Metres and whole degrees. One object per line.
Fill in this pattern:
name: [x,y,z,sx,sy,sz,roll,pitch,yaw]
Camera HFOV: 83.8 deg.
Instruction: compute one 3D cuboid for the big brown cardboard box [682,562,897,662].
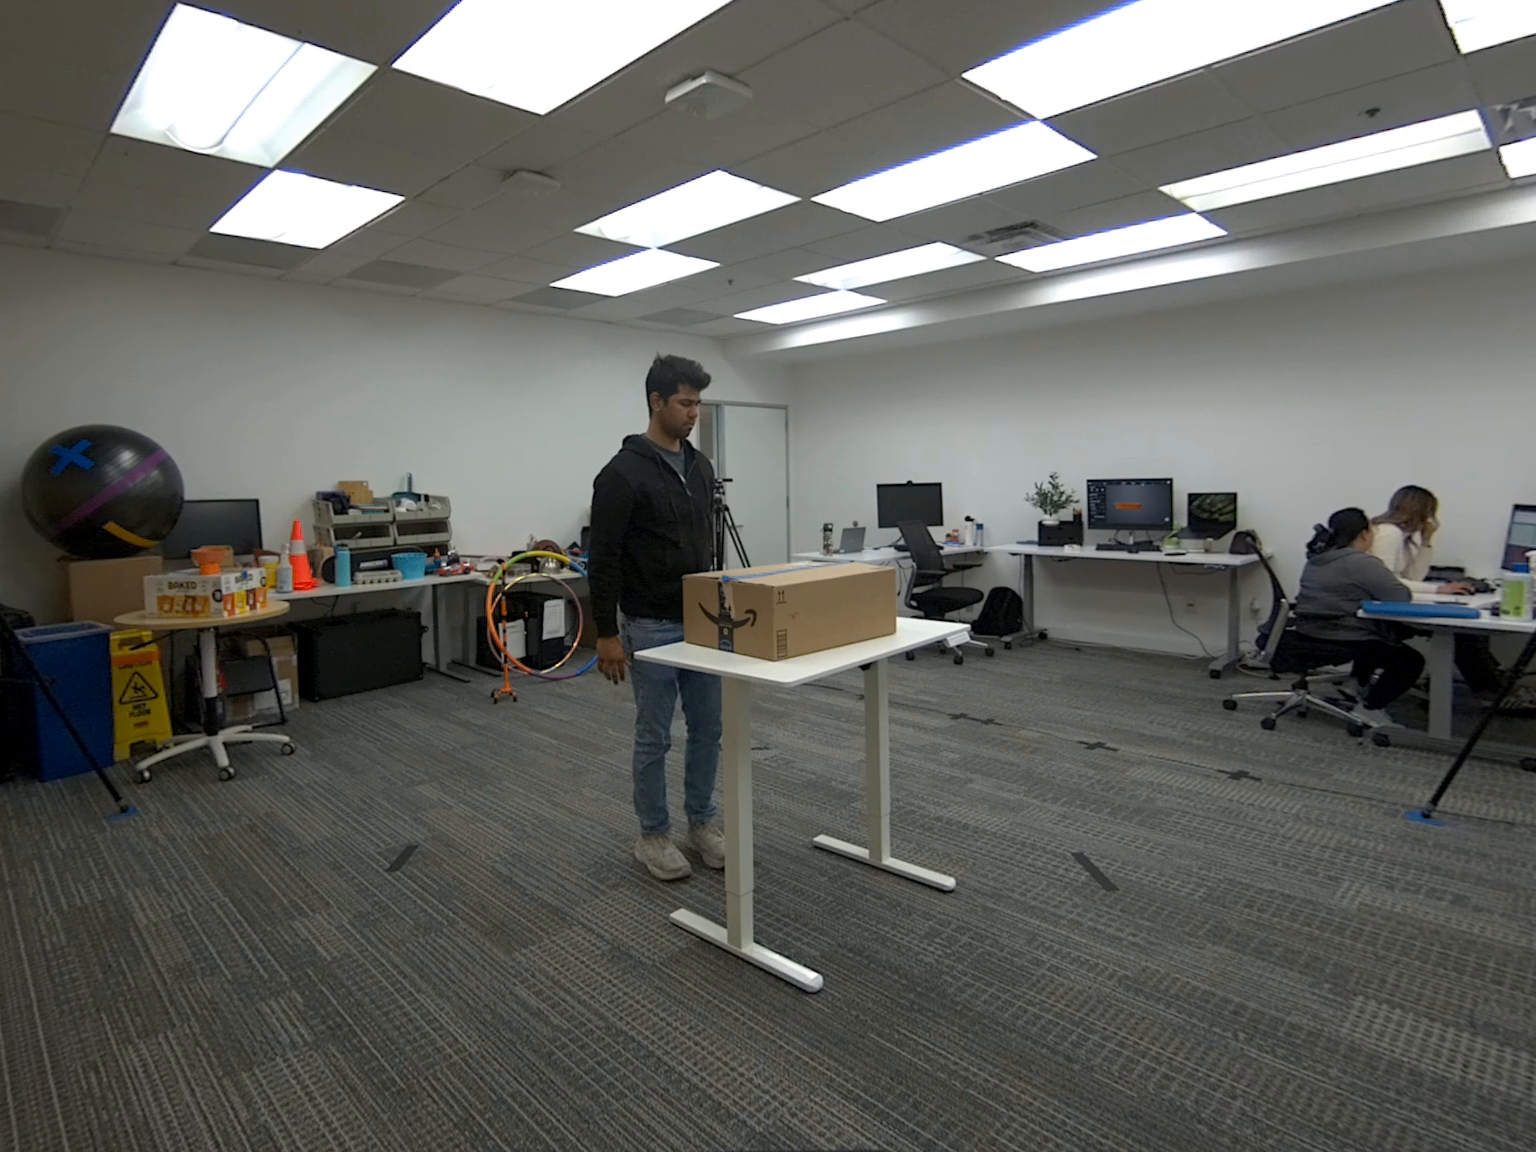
big brown cardboard box: [0.073,0.091,2.752,0.574,0.232,0.430,-8,9,-42]
